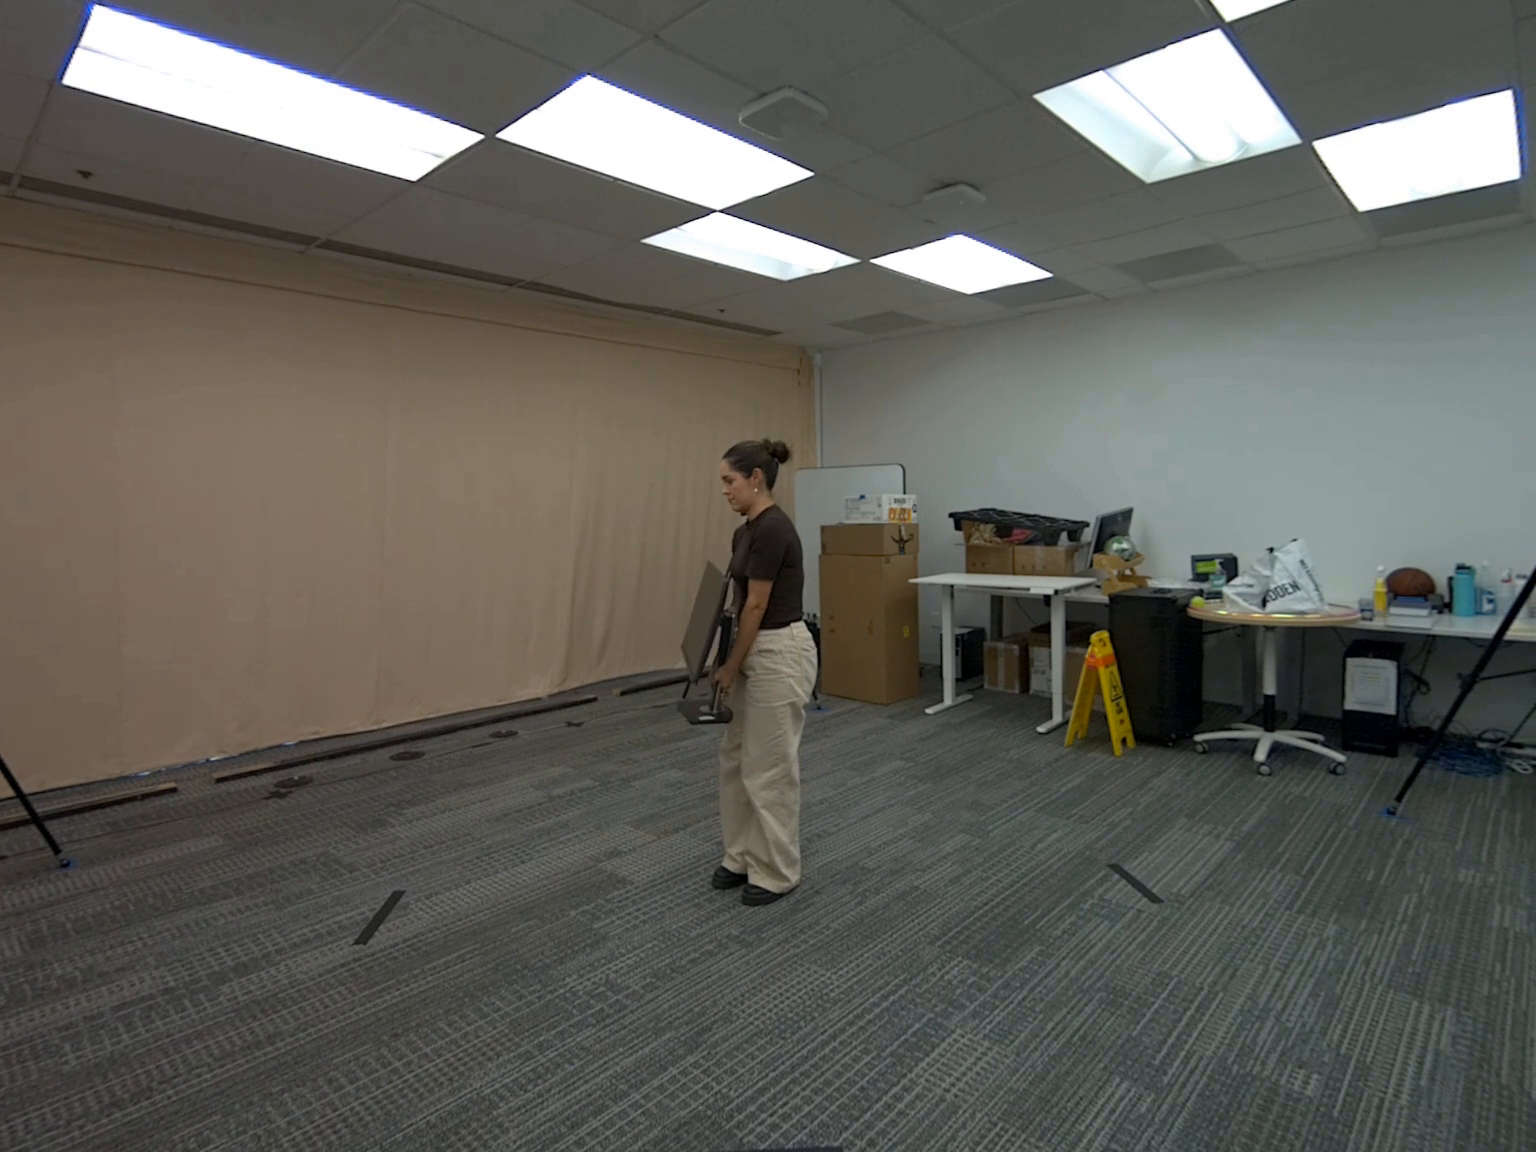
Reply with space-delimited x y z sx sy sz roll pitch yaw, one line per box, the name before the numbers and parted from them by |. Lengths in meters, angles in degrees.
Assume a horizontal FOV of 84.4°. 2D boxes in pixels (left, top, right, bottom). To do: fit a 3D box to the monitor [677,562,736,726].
monitor | -0.200 0.240 2.967 0.185 0.521 0.547 1 7 -12
